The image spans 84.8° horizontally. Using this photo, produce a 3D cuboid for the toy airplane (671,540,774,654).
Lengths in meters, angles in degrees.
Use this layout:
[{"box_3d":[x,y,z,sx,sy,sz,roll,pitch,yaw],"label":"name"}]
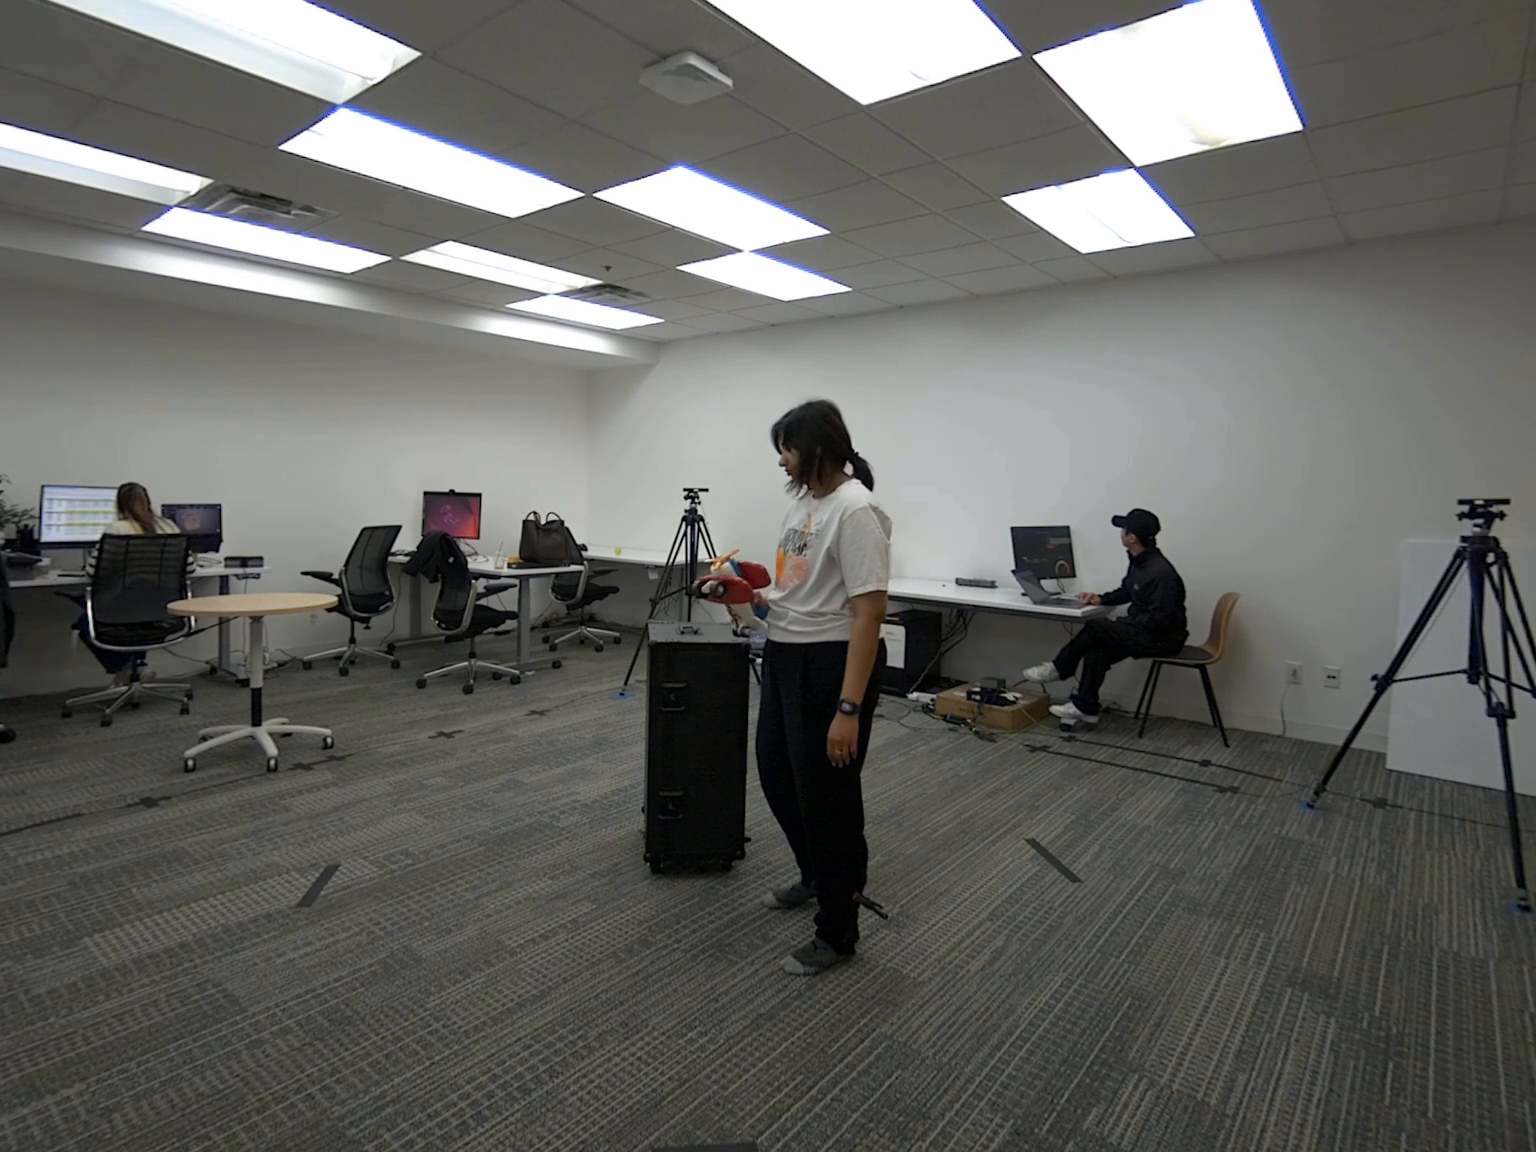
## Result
[{"box_3d":[-0.116,0.062,2.558,0.260,0.157,0.249,20,-29,29],"label":"toy airplane"}]
